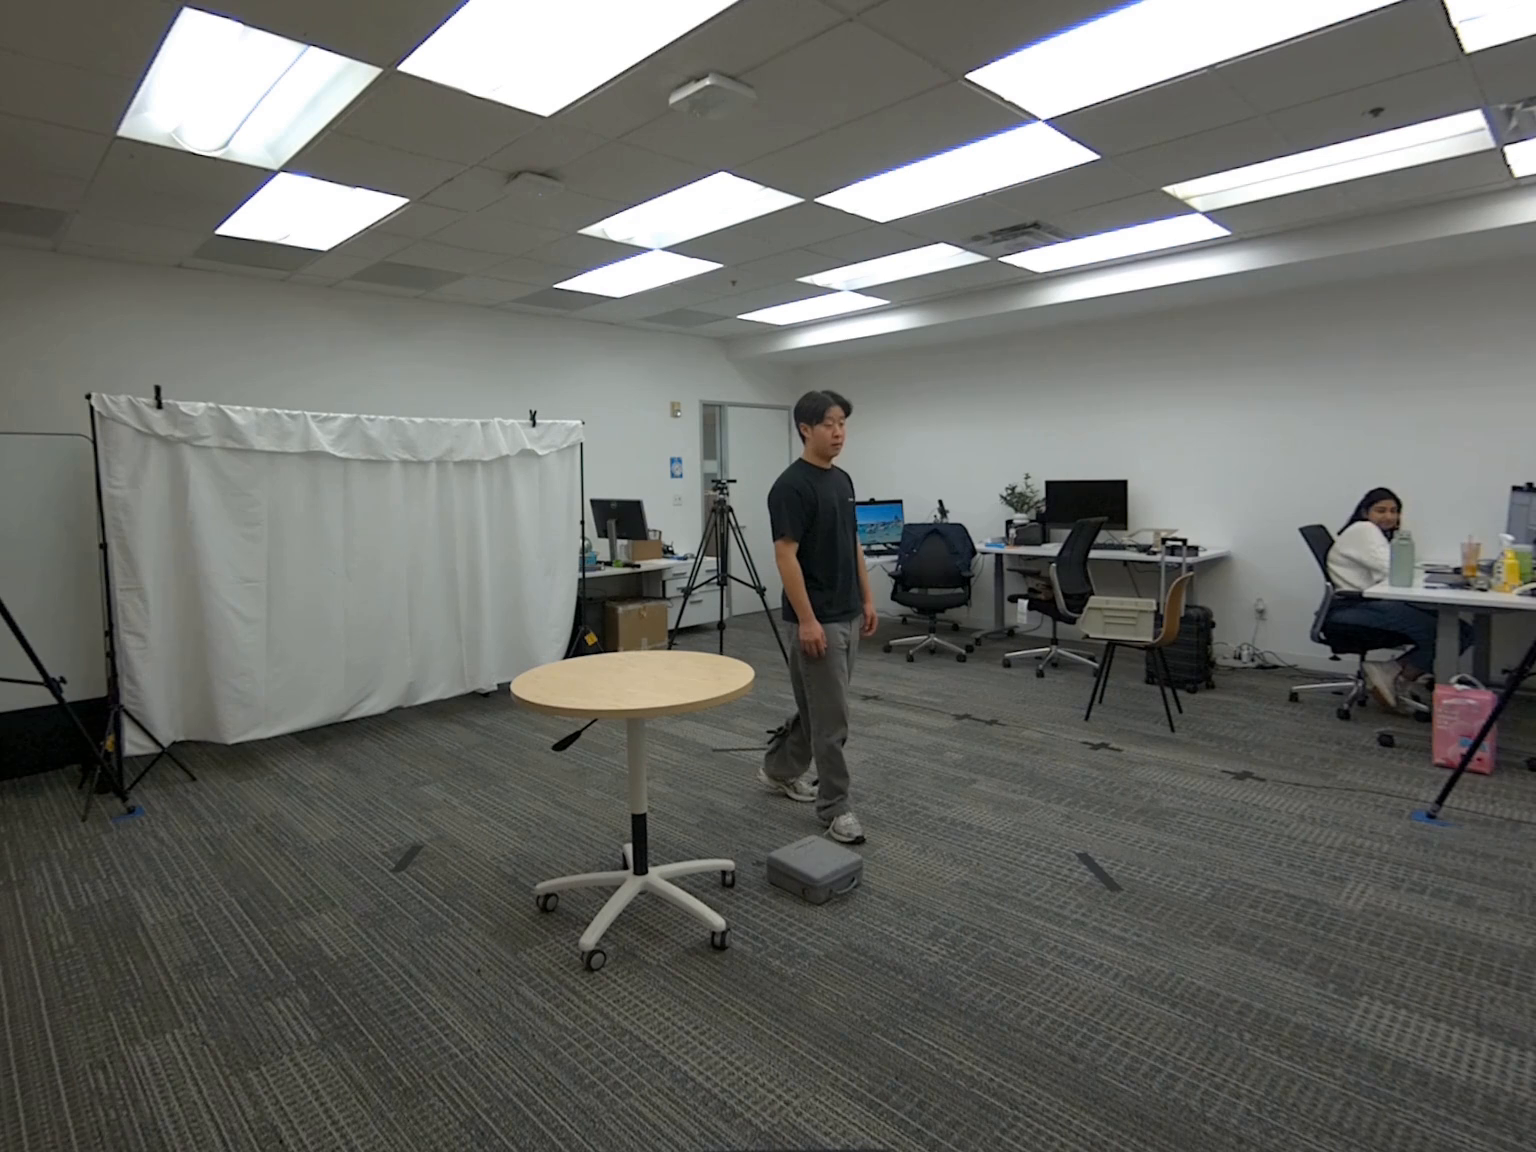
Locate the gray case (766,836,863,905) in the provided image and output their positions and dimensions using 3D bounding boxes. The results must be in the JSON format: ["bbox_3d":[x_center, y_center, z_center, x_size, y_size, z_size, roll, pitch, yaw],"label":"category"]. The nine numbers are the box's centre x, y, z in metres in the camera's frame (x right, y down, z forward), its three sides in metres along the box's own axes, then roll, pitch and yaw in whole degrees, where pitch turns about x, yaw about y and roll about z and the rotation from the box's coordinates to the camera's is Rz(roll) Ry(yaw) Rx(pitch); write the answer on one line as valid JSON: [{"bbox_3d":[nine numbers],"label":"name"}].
[{"bbox_3d":[0.172,1.004,2.946,0.256,0.102,0.296,-8,9,-42],"label":"gray case"}]
